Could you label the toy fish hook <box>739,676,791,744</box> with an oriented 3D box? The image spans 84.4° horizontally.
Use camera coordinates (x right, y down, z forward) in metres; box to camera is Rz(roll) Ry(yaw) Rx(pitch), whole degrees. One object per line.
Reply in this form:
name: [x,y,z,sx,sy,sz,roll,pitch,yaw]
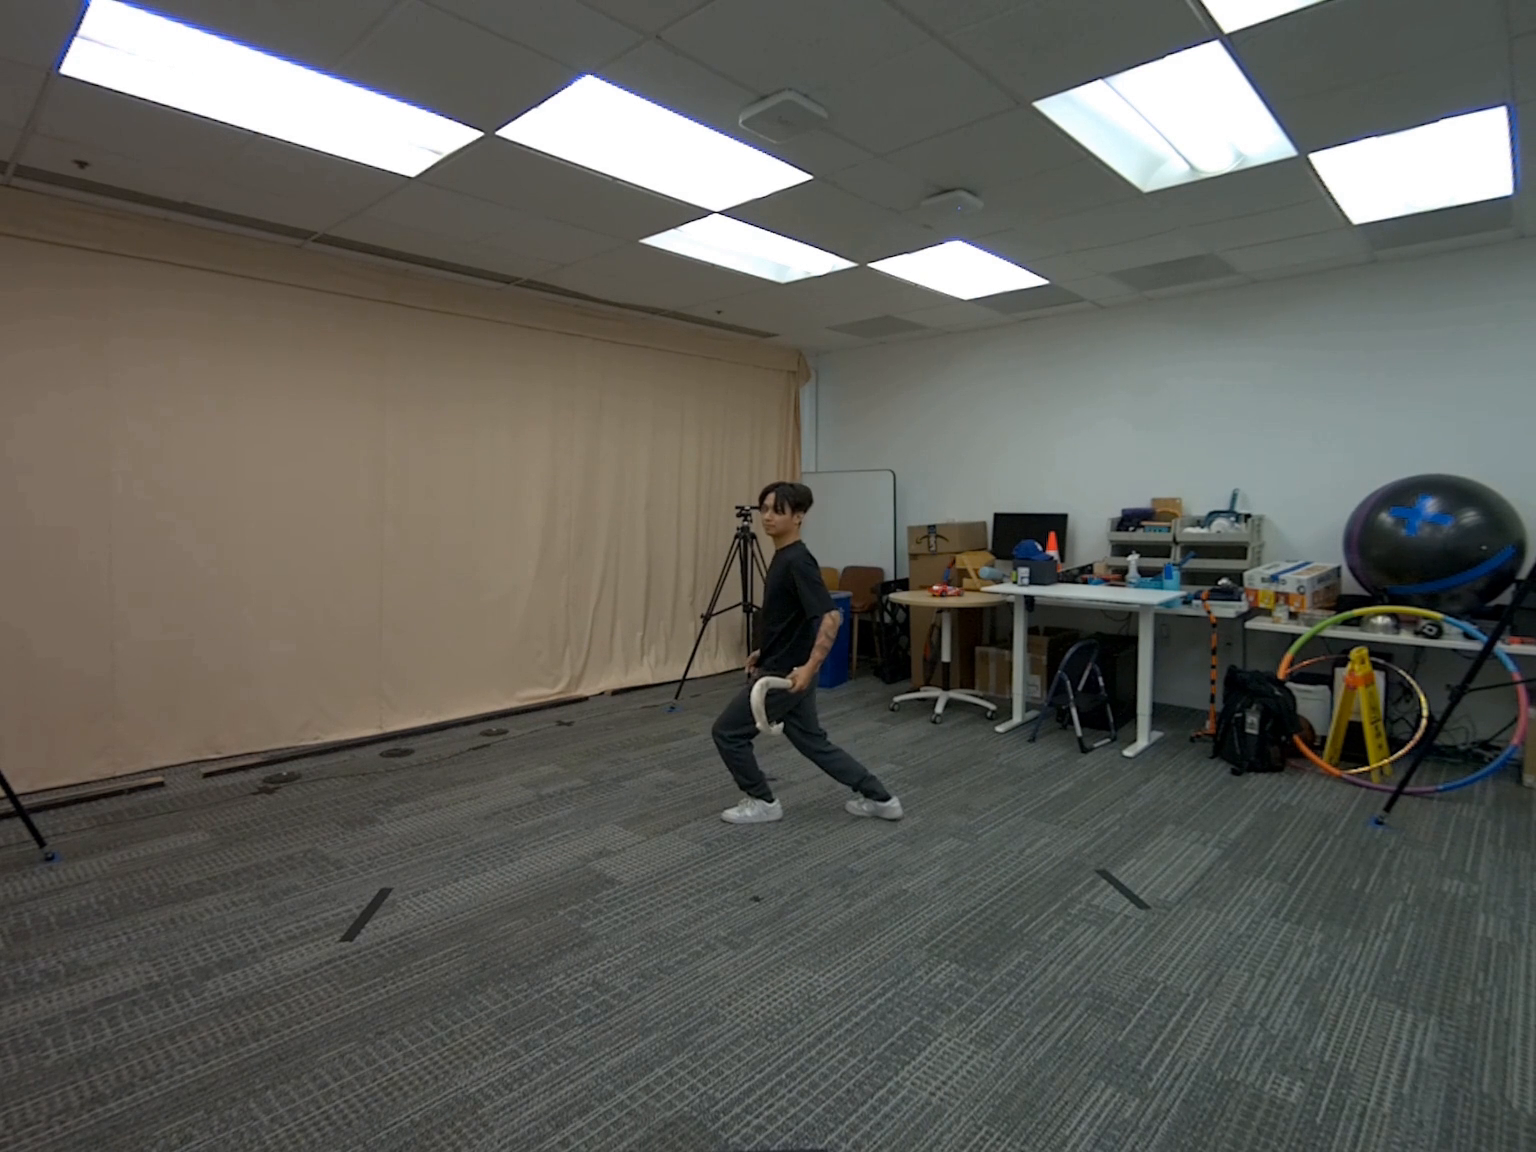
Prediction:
toy fish hook: [0.039,0.474,3.306,0.049,0.224,0.494,-5,3,28]
